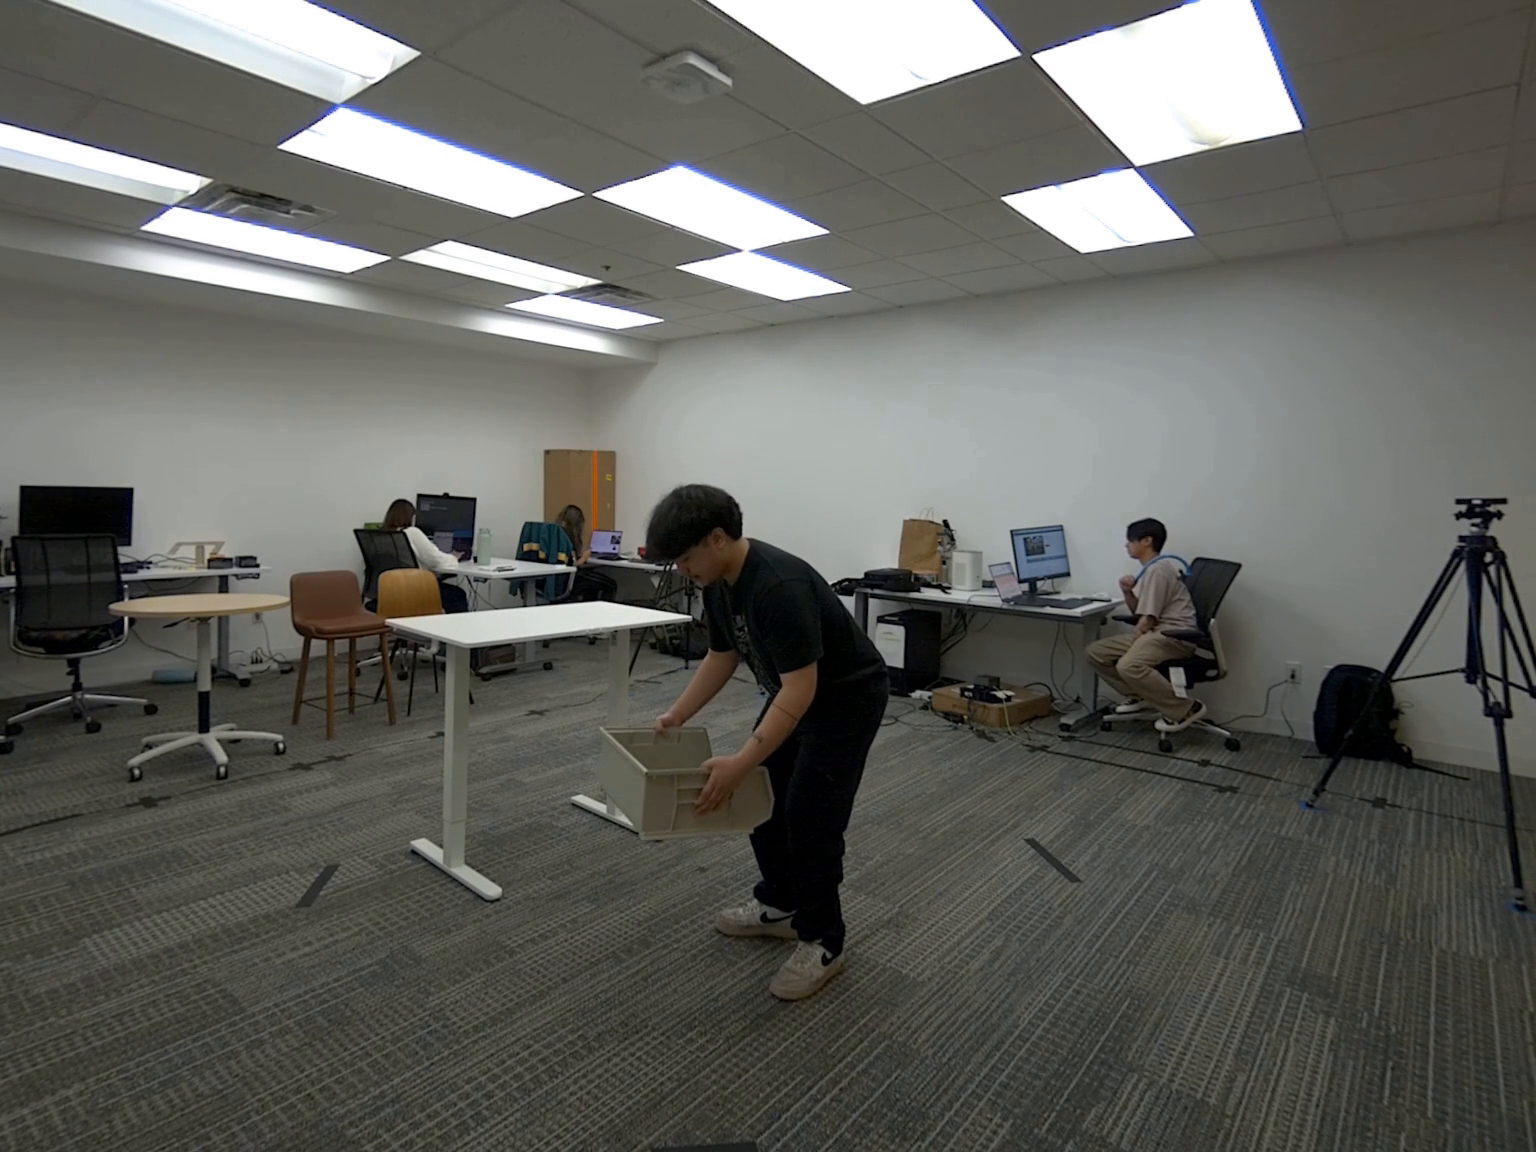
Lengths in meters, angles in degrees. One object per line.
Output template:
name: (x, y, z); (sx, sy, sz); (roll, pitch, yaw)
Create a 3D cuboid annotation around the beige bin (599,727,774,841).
beige bin: (-0.248, 0.570, 2.382); (0.368, 0.188, 0.434); (2, 4, -26)
